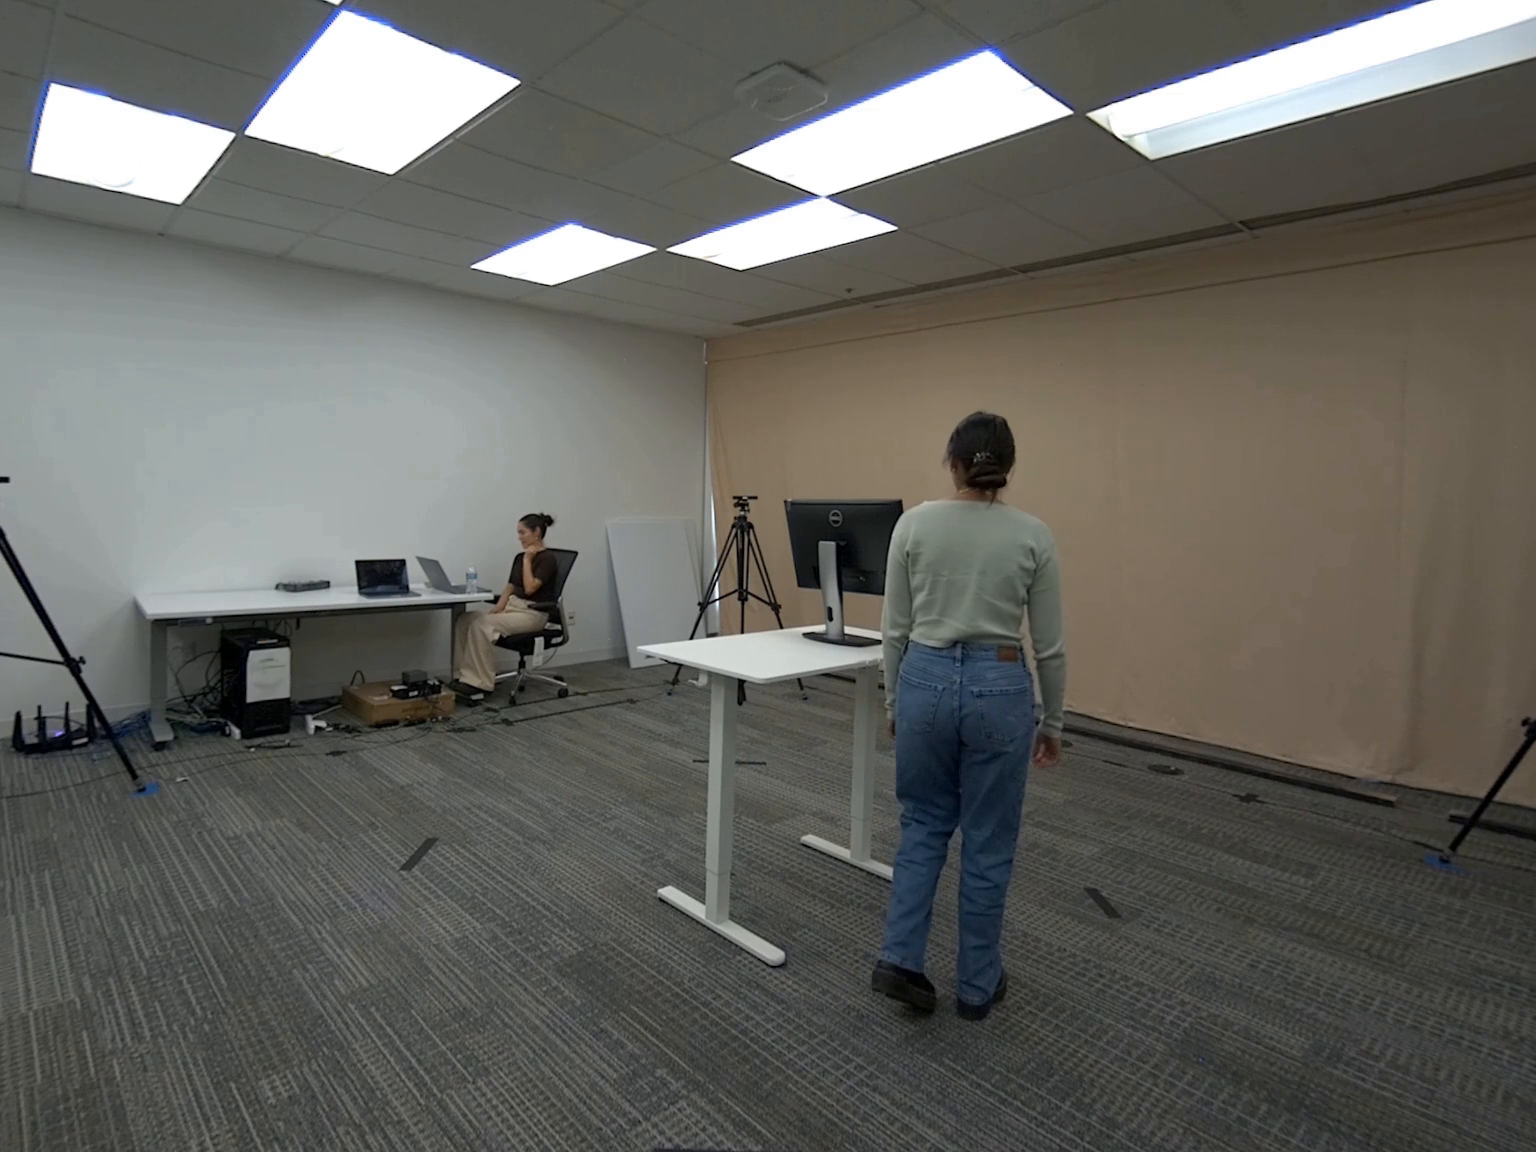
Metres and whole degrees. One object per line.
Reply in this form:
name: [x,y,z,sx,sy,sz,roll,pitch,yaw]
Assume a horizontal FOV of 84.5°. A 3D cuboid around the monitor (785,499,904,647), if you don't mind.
monitor: [0.263,-0.019,3.043,0.543,0.516,0.170,3,1,44]
